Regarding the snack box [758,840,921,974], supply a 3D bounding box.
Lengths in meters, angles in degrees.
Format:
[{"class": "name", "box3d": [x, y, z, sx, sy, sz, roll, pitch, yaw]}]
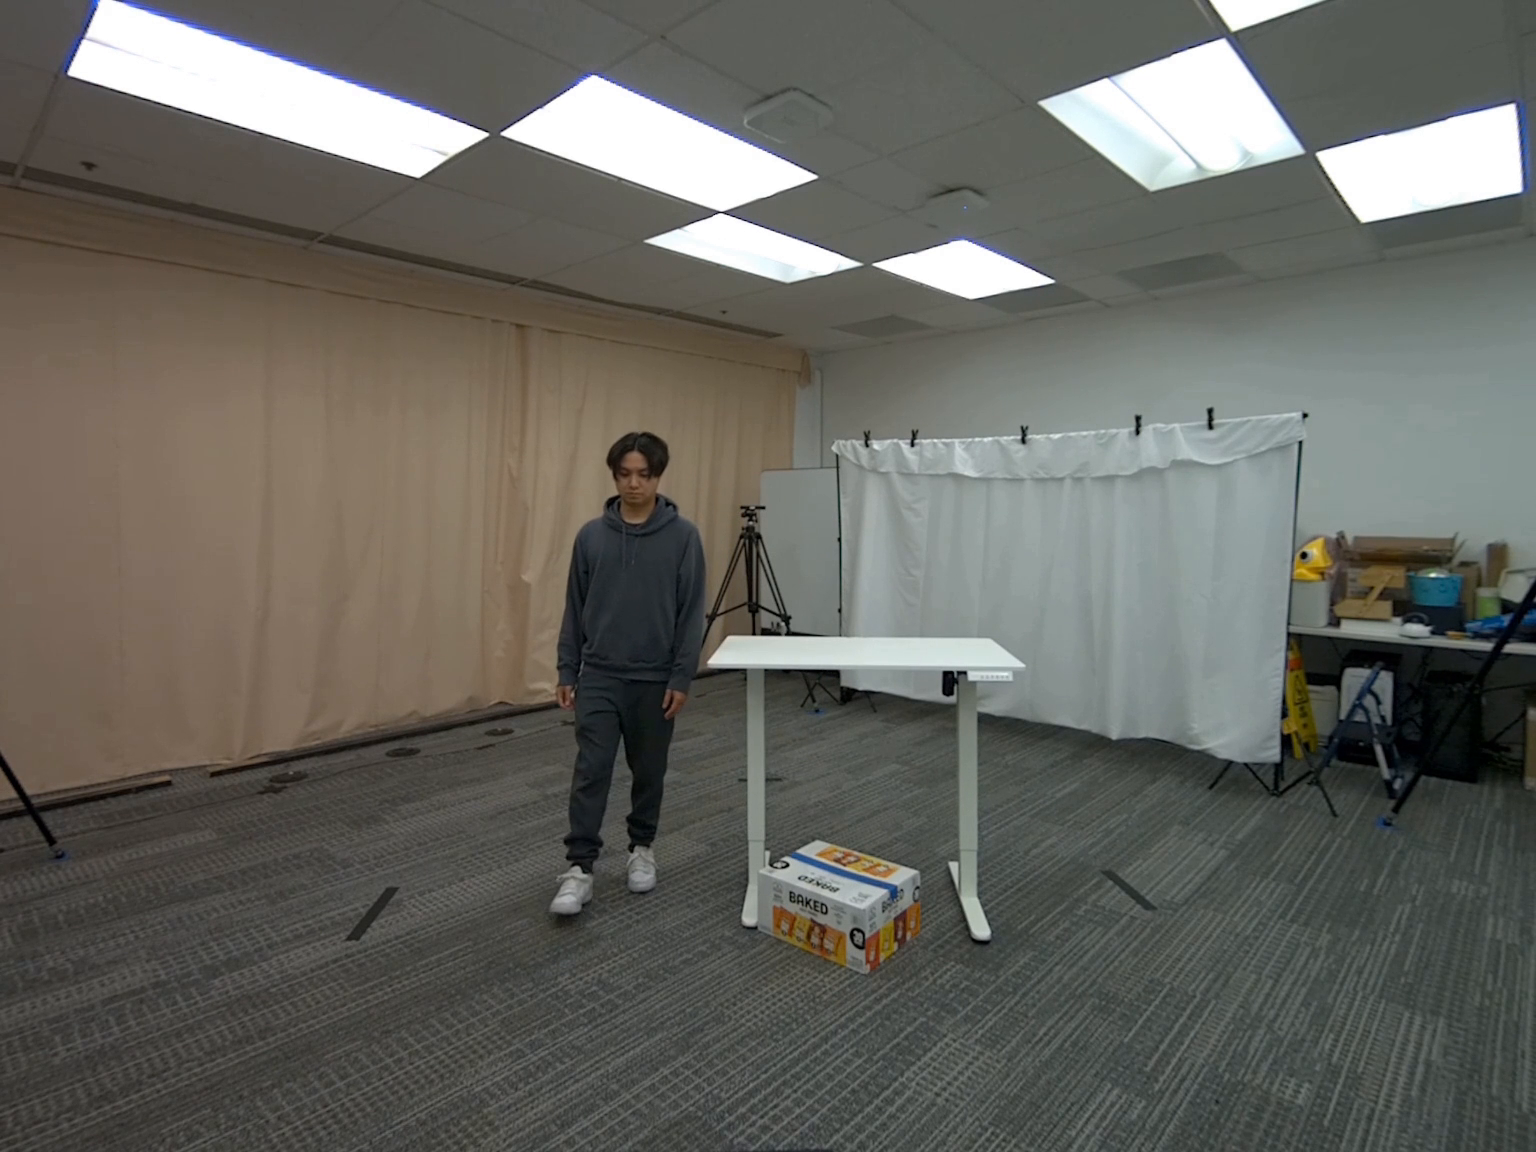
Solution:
[{"class": "snack box", "box3d": [0.236, 1.064, 2.740, 0.418, 0.205, 0.330, 3, 6, 39]}]
